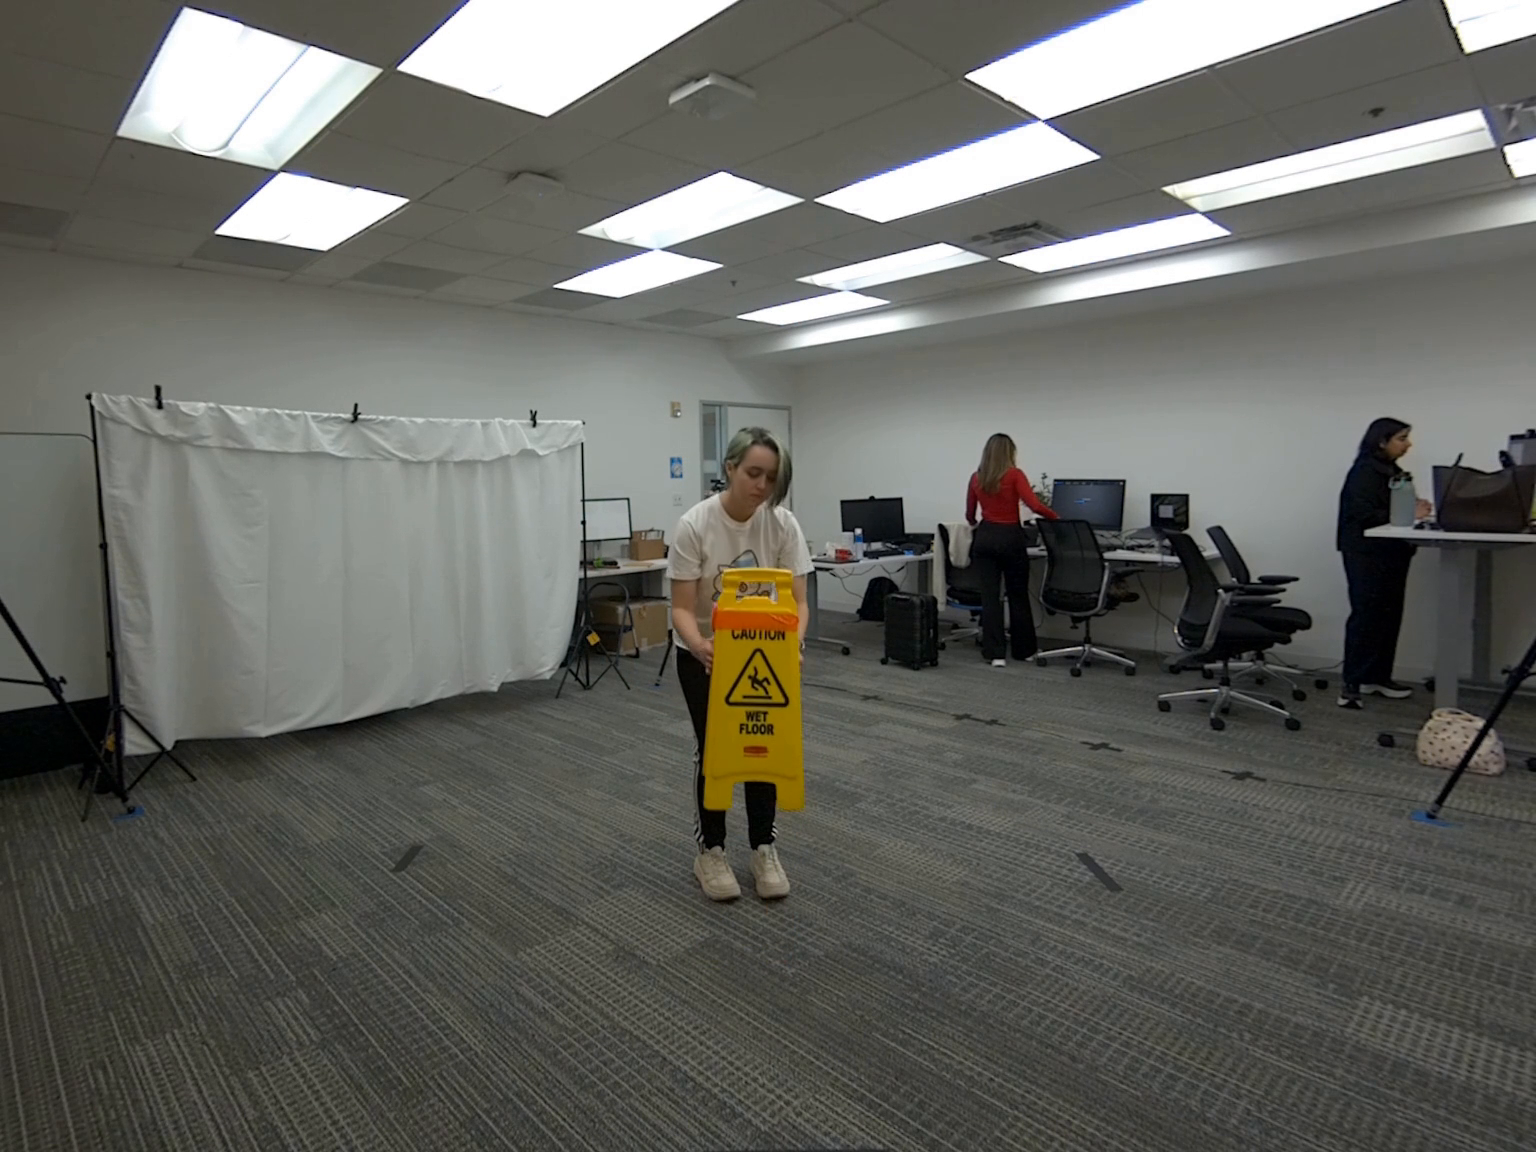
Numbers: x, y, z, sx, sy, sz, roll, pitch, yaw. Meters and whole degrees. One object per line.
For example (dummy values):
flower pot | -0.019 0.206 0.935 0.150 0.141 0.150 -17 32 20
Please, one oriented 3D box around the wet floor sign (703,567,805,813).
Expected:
wet floor sign | -0.044 0.313 2.426 0.281 0.642 0.292 1 7 -5
